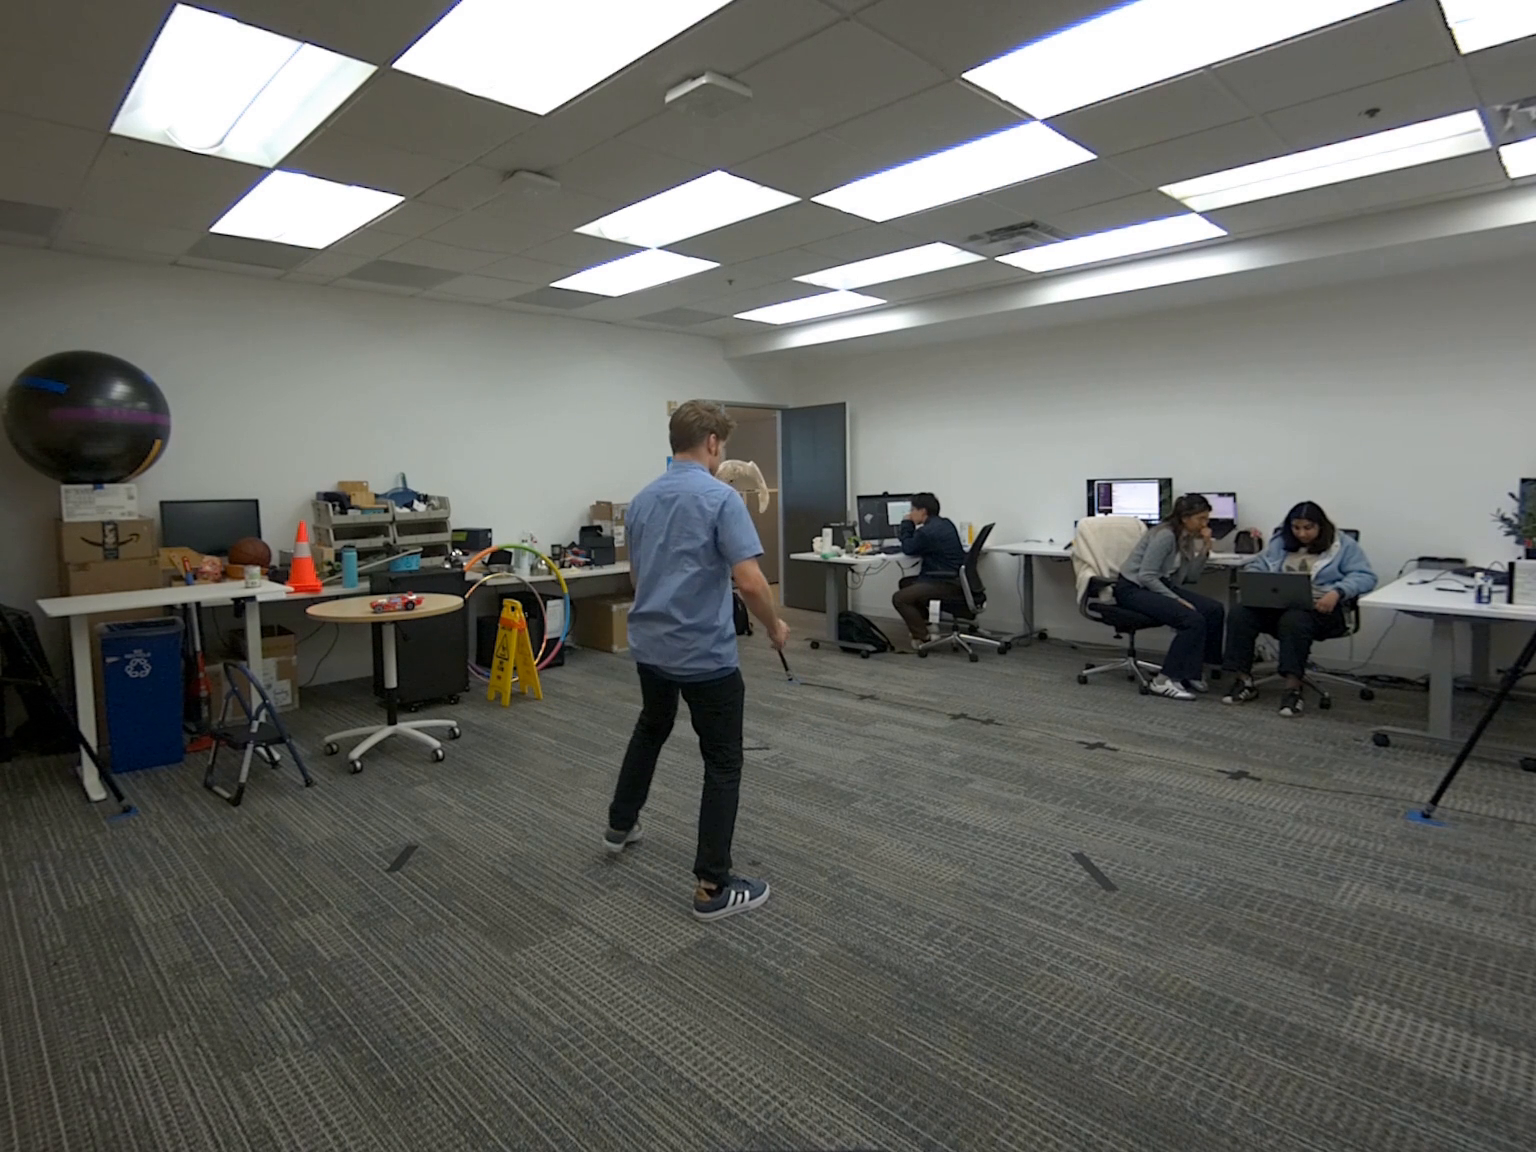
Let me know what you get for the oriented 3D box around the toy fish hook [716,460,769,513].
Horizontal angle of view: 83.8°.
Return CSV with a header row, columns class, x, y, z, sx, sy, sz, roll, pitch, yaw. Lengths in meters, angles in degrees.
class,x,y,z,sx,sy,sz,roll,pitch,yaw
toy fish hook,-0.108,-0.183,3.214,0.222,0.510,0.048,6,-8,-8
